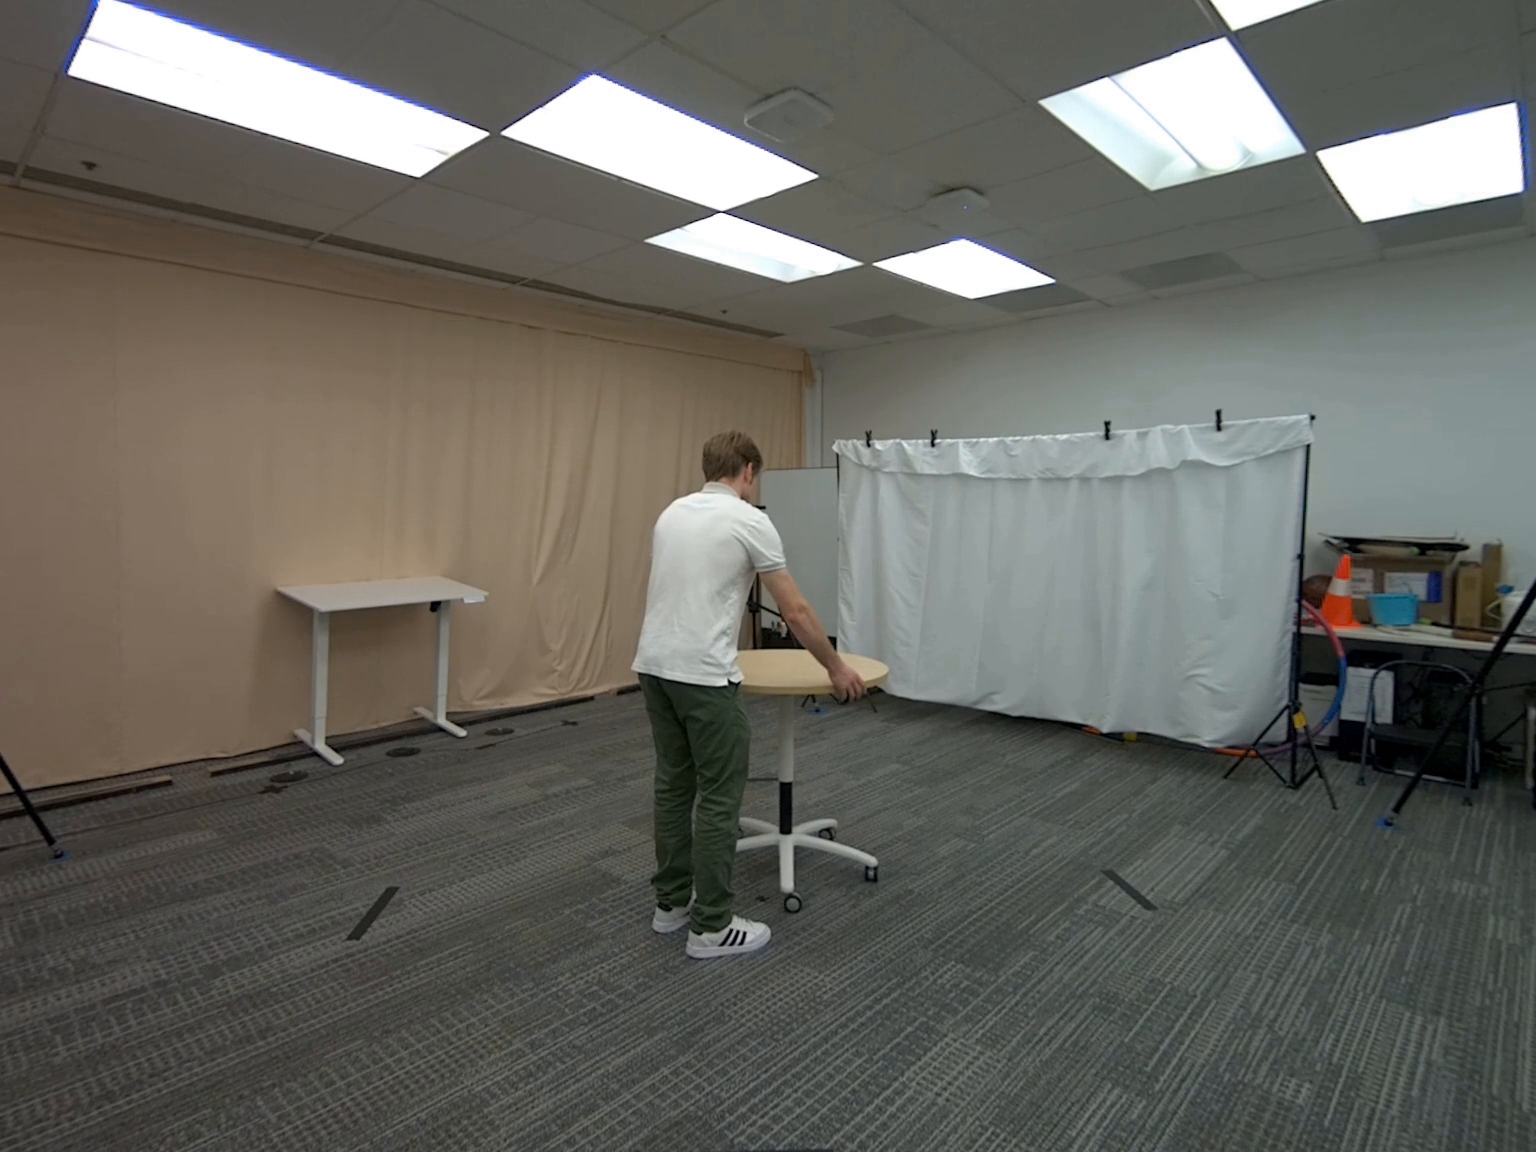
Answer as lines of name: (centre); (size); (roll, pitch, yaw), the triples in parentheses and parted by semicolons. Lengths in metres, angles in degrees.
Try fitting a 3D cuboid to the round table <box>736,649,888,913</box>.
round table: (0.078, 0.734, 3.207); (0.763, 0.792, 0.766); (0, 3, -2)
